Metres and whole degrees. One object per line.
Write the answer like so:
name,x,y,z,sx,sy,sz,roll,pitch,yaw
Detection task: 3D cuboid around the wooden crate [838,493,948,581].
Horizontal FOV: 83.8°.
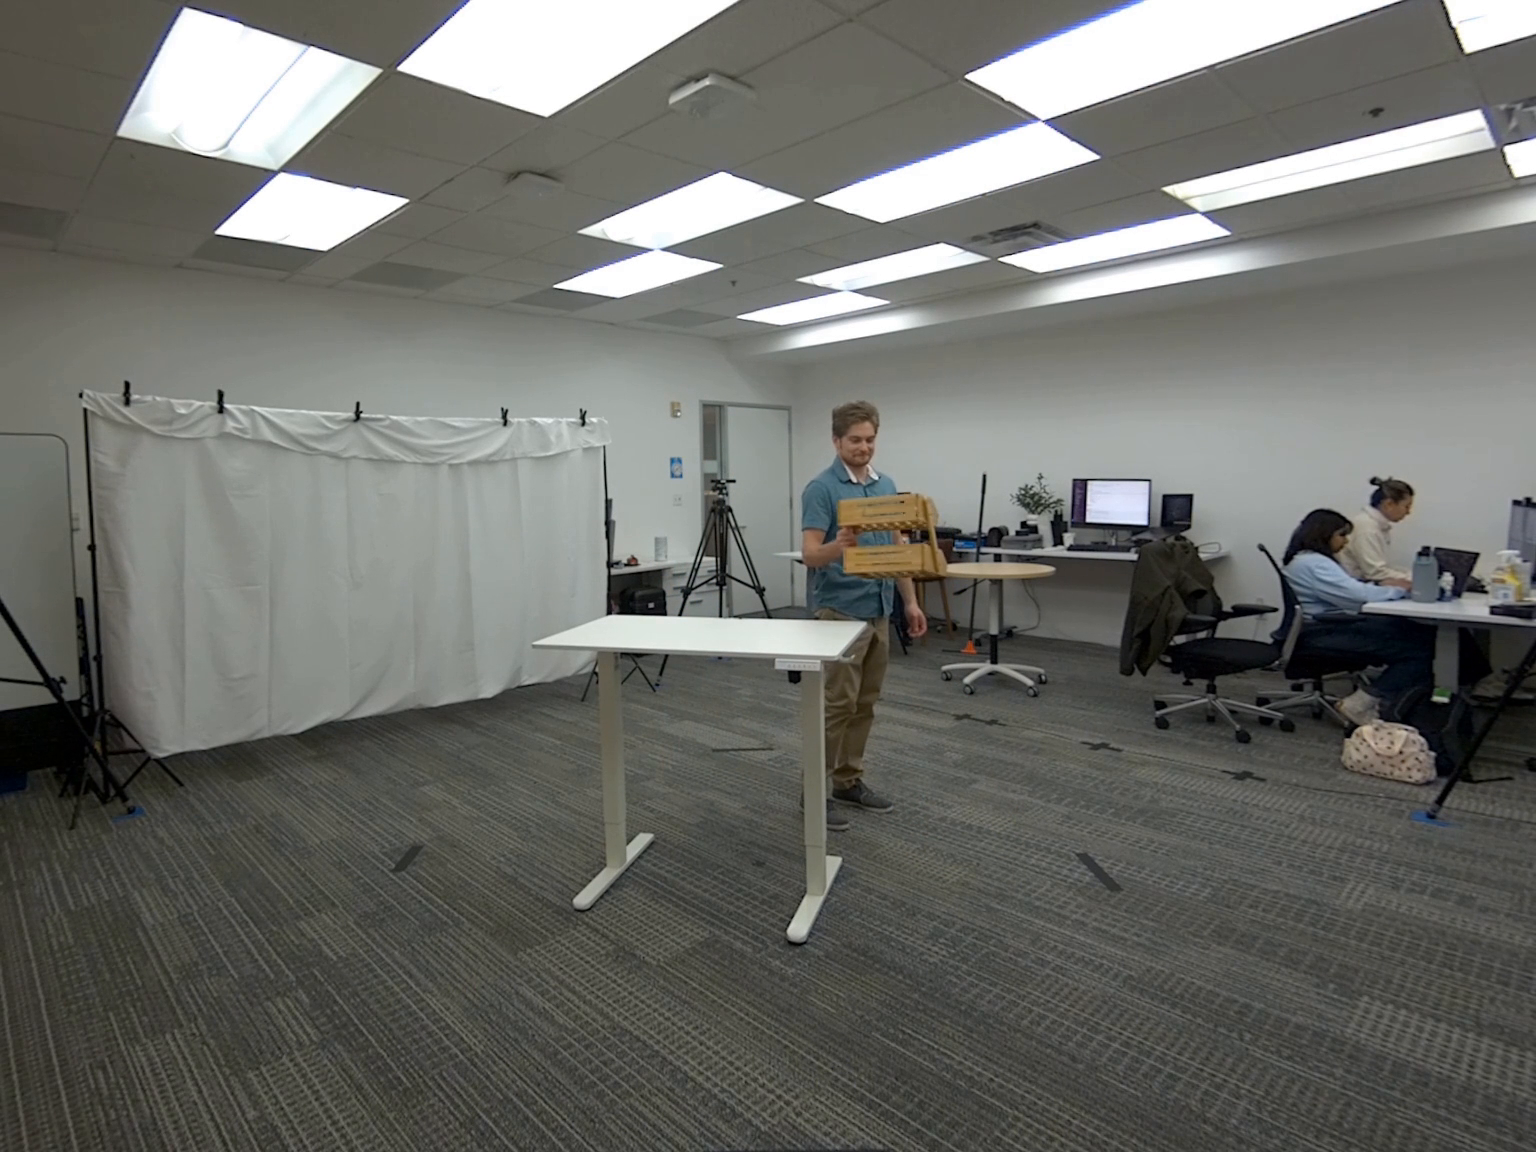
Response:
wooden crate,0.452,-0.138,3.107,0.332,0.275,0.293,-3,-8,30
